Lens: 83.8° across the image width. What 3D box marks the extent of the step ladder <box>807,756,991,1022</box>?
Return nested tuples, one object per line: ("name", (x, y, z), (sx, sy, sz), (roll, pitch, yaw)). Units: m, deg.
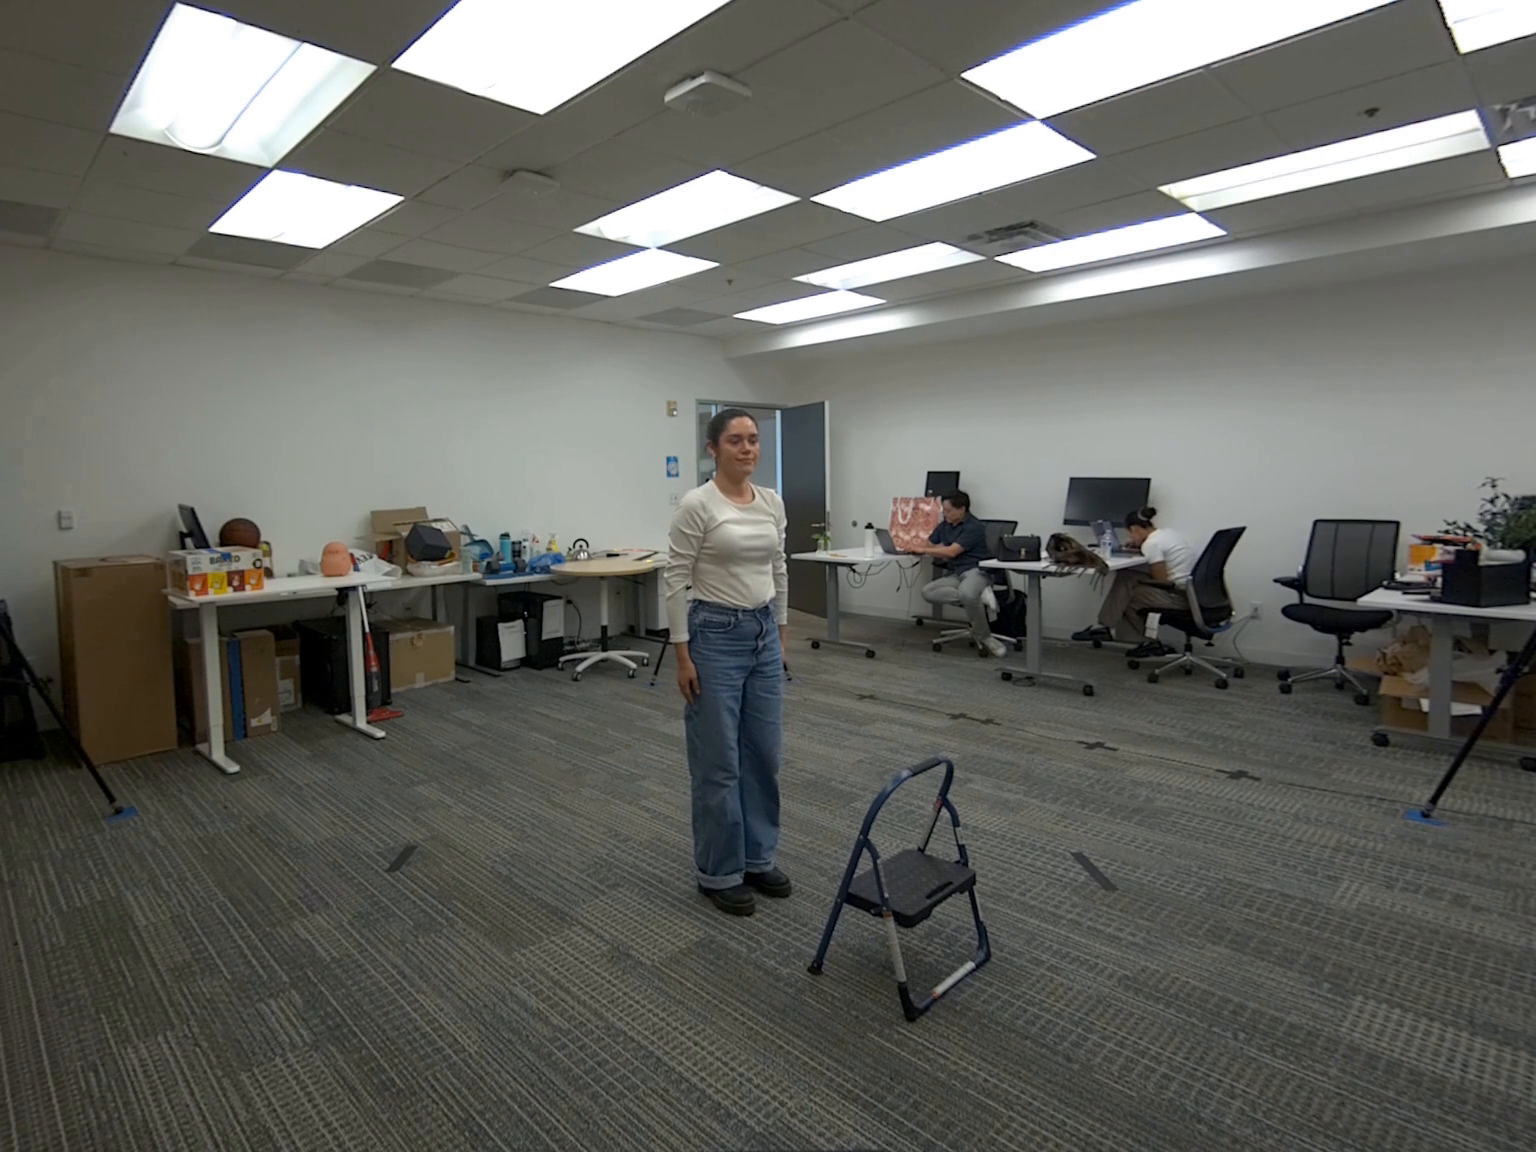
("step ladder", (0.381, 0.813, 2.426), (0.360, 0.603, 0.419), (3, 7, 43))
